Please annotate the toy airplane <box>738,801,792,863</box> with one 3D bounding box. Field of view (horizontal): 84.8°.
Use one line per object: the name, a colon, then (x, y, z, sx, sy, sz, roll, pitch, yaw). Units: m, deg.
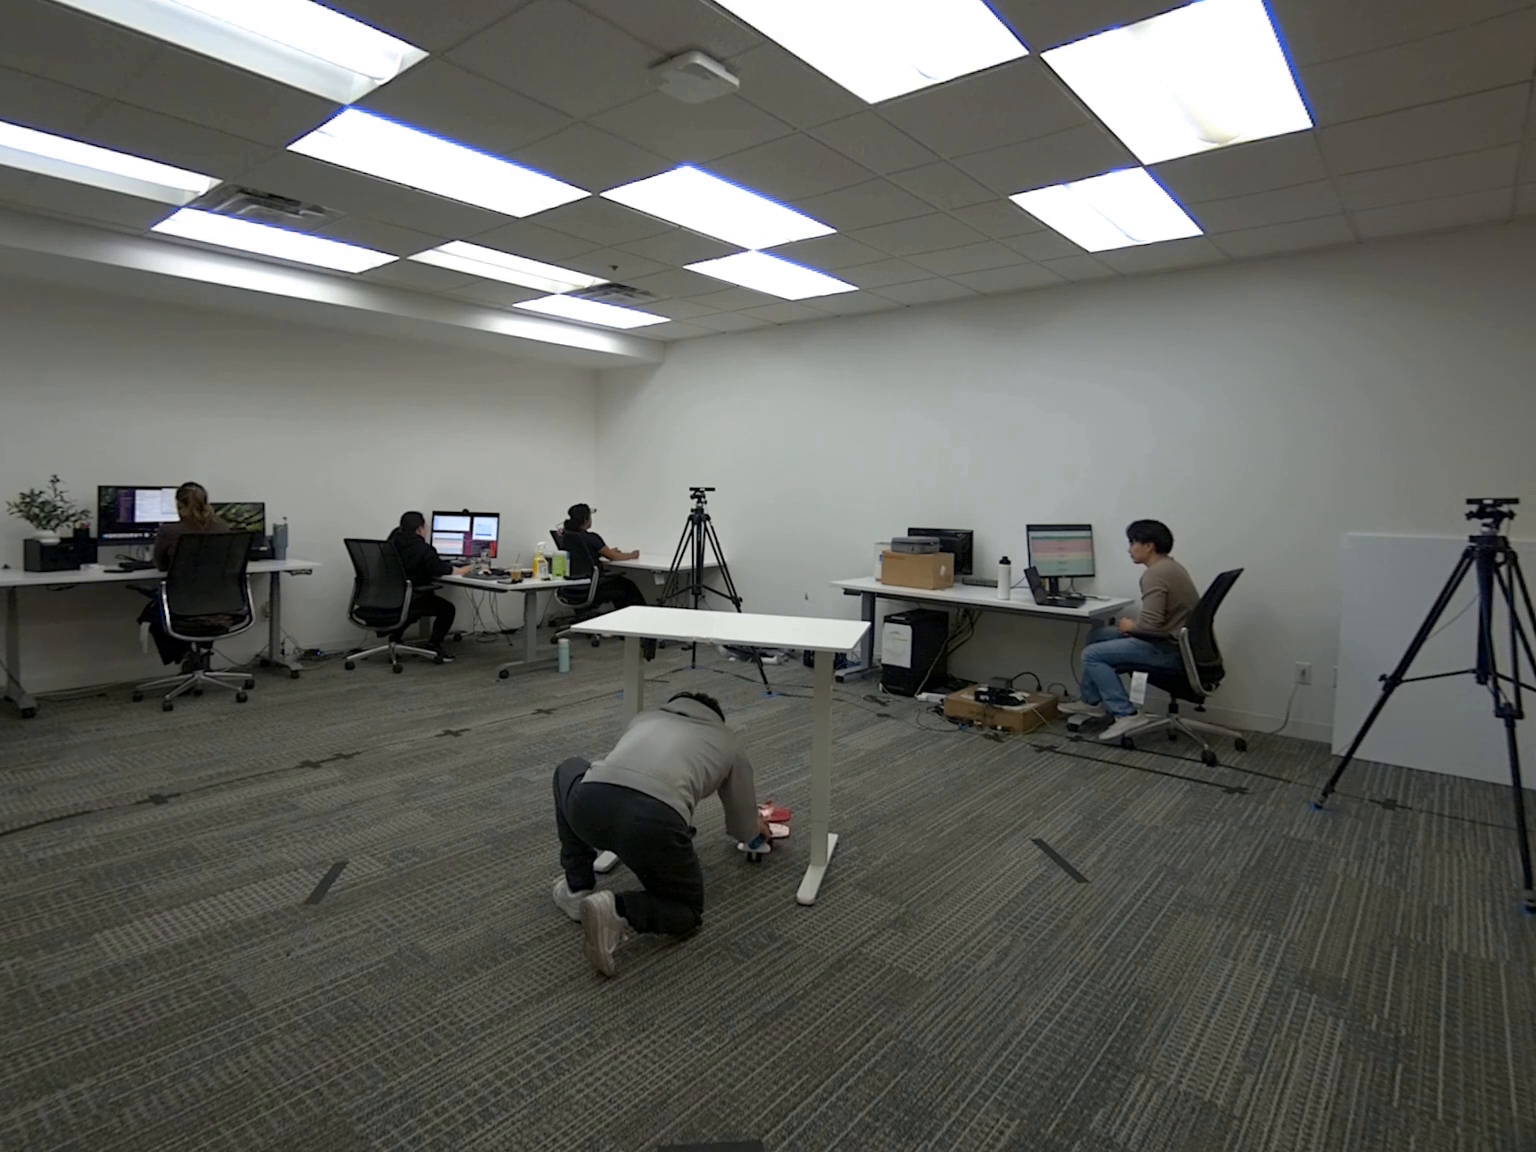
toy airplane: (-0.029, 0.981, 3.267, 0.246, 0.156, 0.265, -2, 3, -21)
